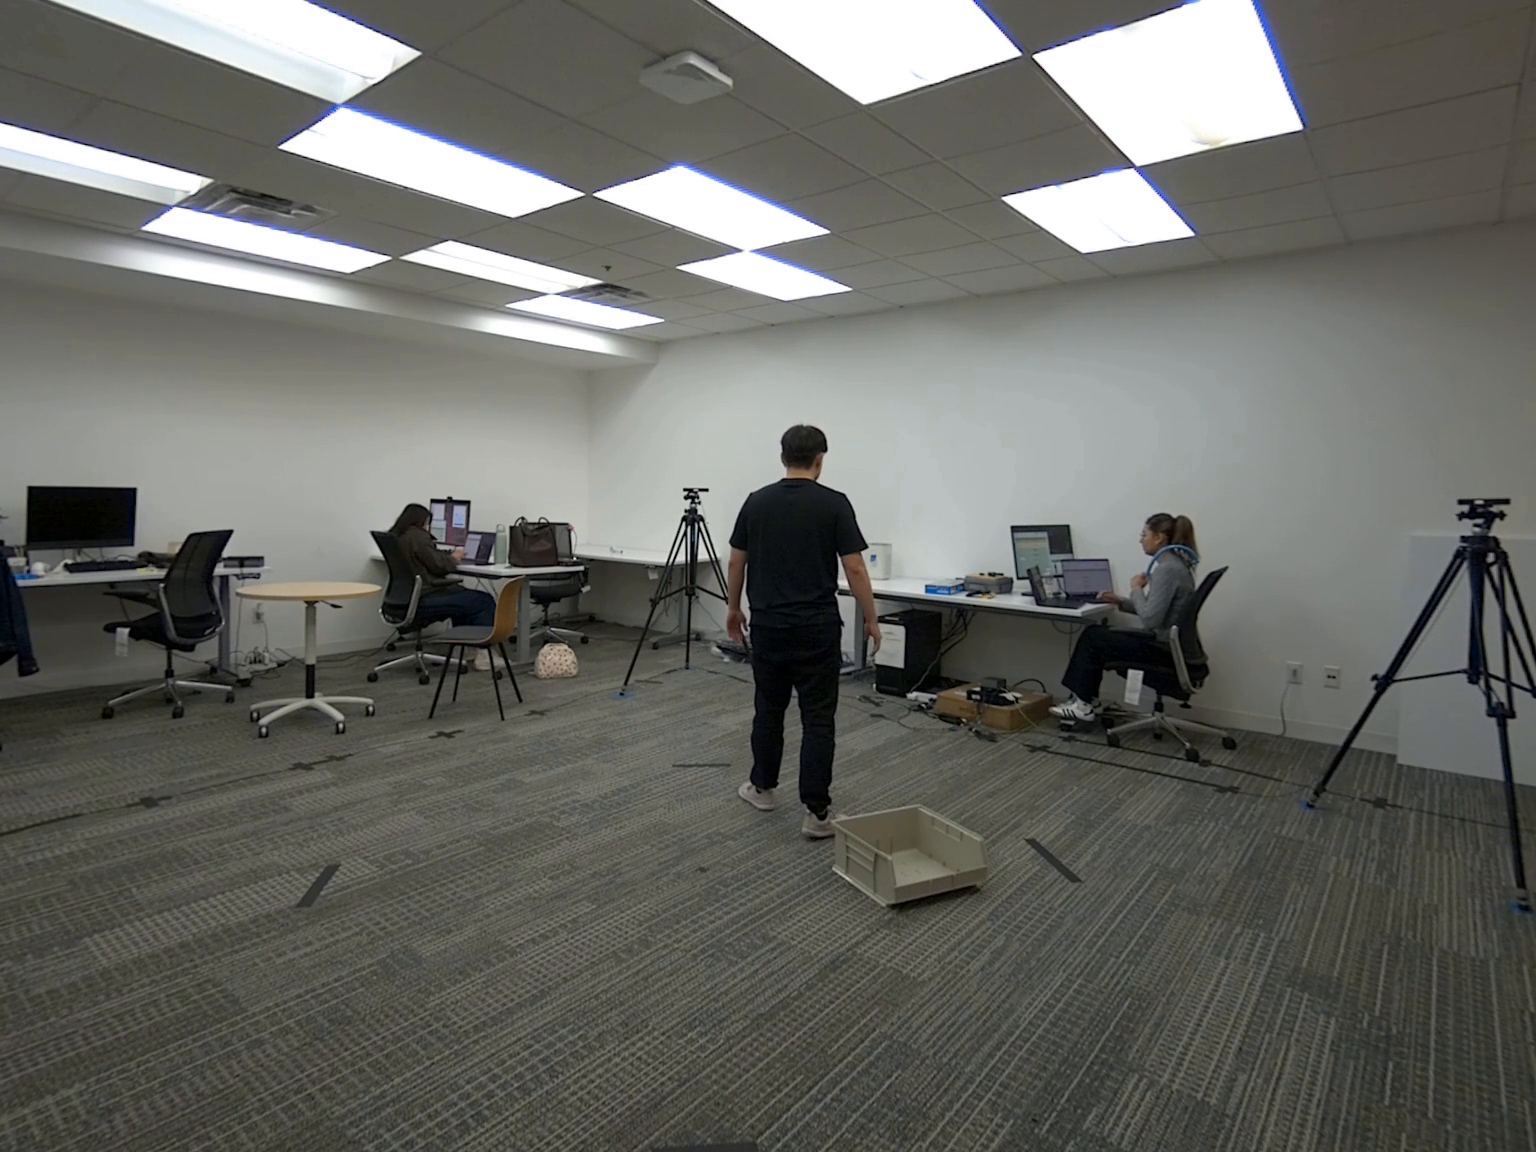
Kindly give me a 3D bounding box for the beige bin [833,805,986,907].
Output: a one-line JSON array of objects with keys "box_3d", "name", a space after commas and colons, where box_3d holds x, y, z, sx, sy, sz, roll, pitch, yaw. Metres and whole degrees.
[{"box_3d": [0.502, 1.004, 3.058, 0.411, 0.188, 0.388, -2, 5, -29], "name": "beige bin"}]
